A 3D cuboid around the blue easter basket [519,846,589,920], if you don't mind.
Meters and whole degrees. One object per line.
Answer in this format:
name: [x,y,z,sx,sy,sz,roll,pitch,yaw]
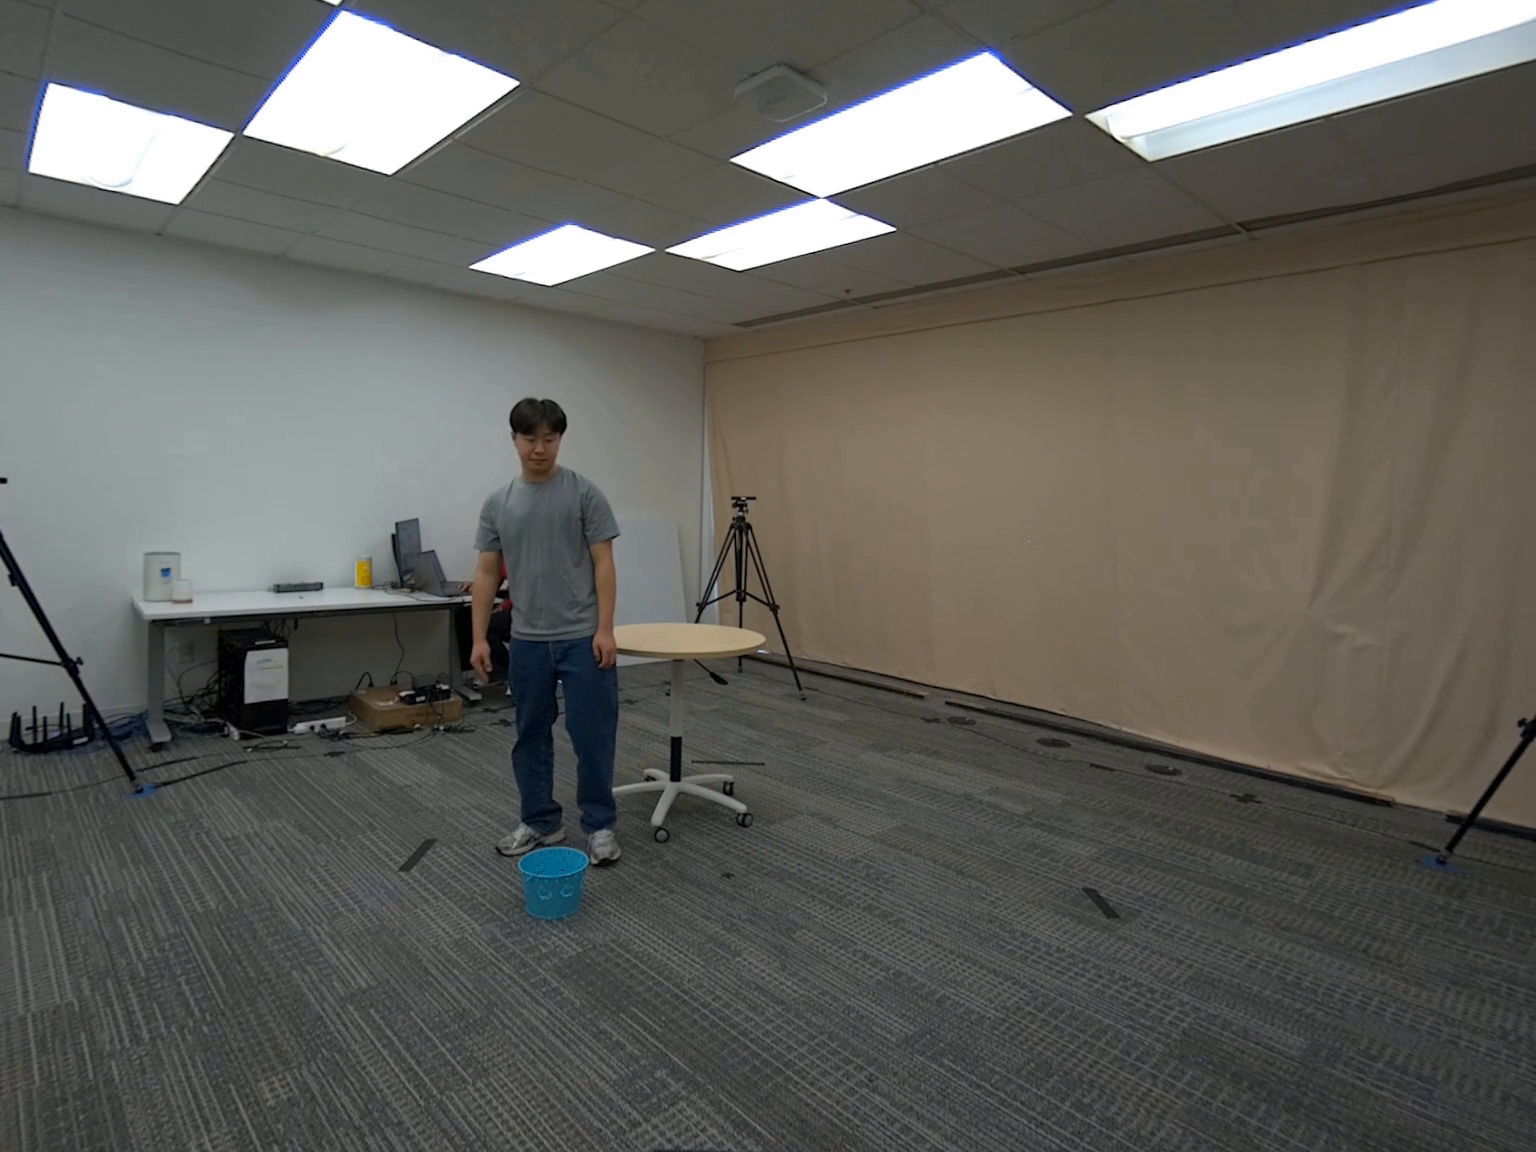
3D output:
blue easter basket: [-0.738,1.039,2.849,0.243,0.155,0.245,2,6,-2]
